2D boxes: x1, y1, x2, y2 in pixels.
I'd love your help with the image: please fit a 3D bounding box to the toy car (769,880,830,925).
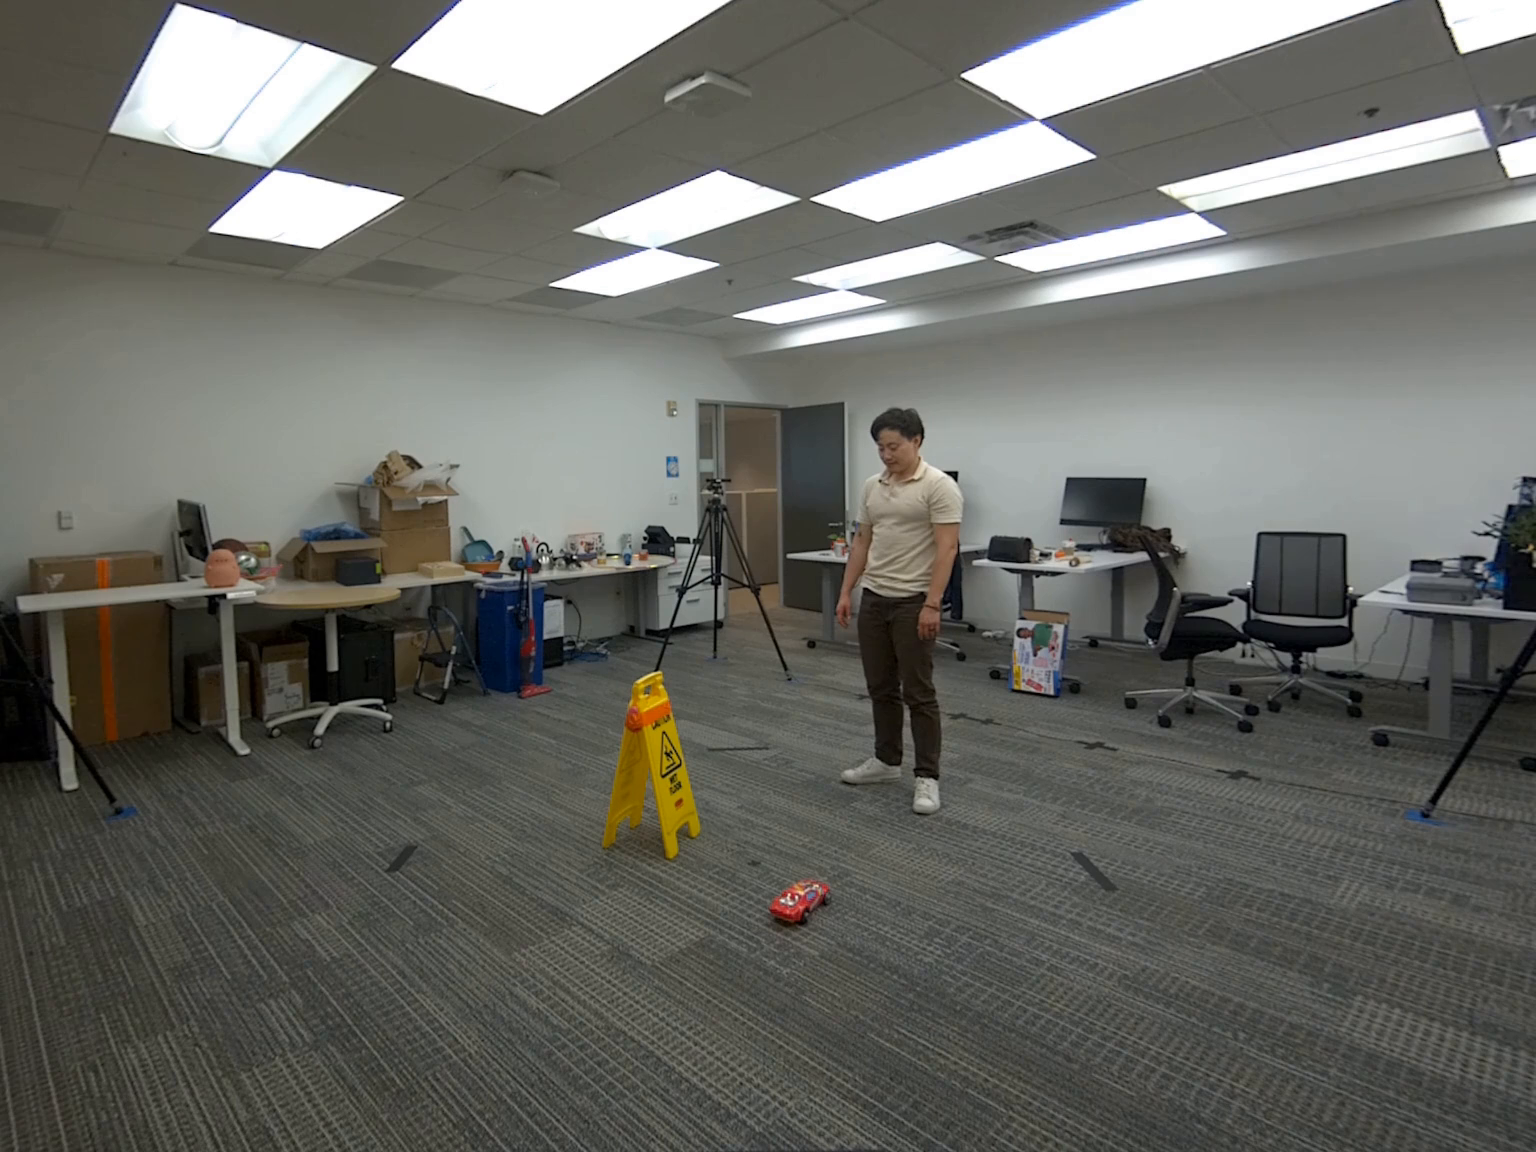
[{"bbox_3d":[0.102,1.052,2.750,0.134,0.083,0.246,4,-3,35],"label":"toy car"}]
